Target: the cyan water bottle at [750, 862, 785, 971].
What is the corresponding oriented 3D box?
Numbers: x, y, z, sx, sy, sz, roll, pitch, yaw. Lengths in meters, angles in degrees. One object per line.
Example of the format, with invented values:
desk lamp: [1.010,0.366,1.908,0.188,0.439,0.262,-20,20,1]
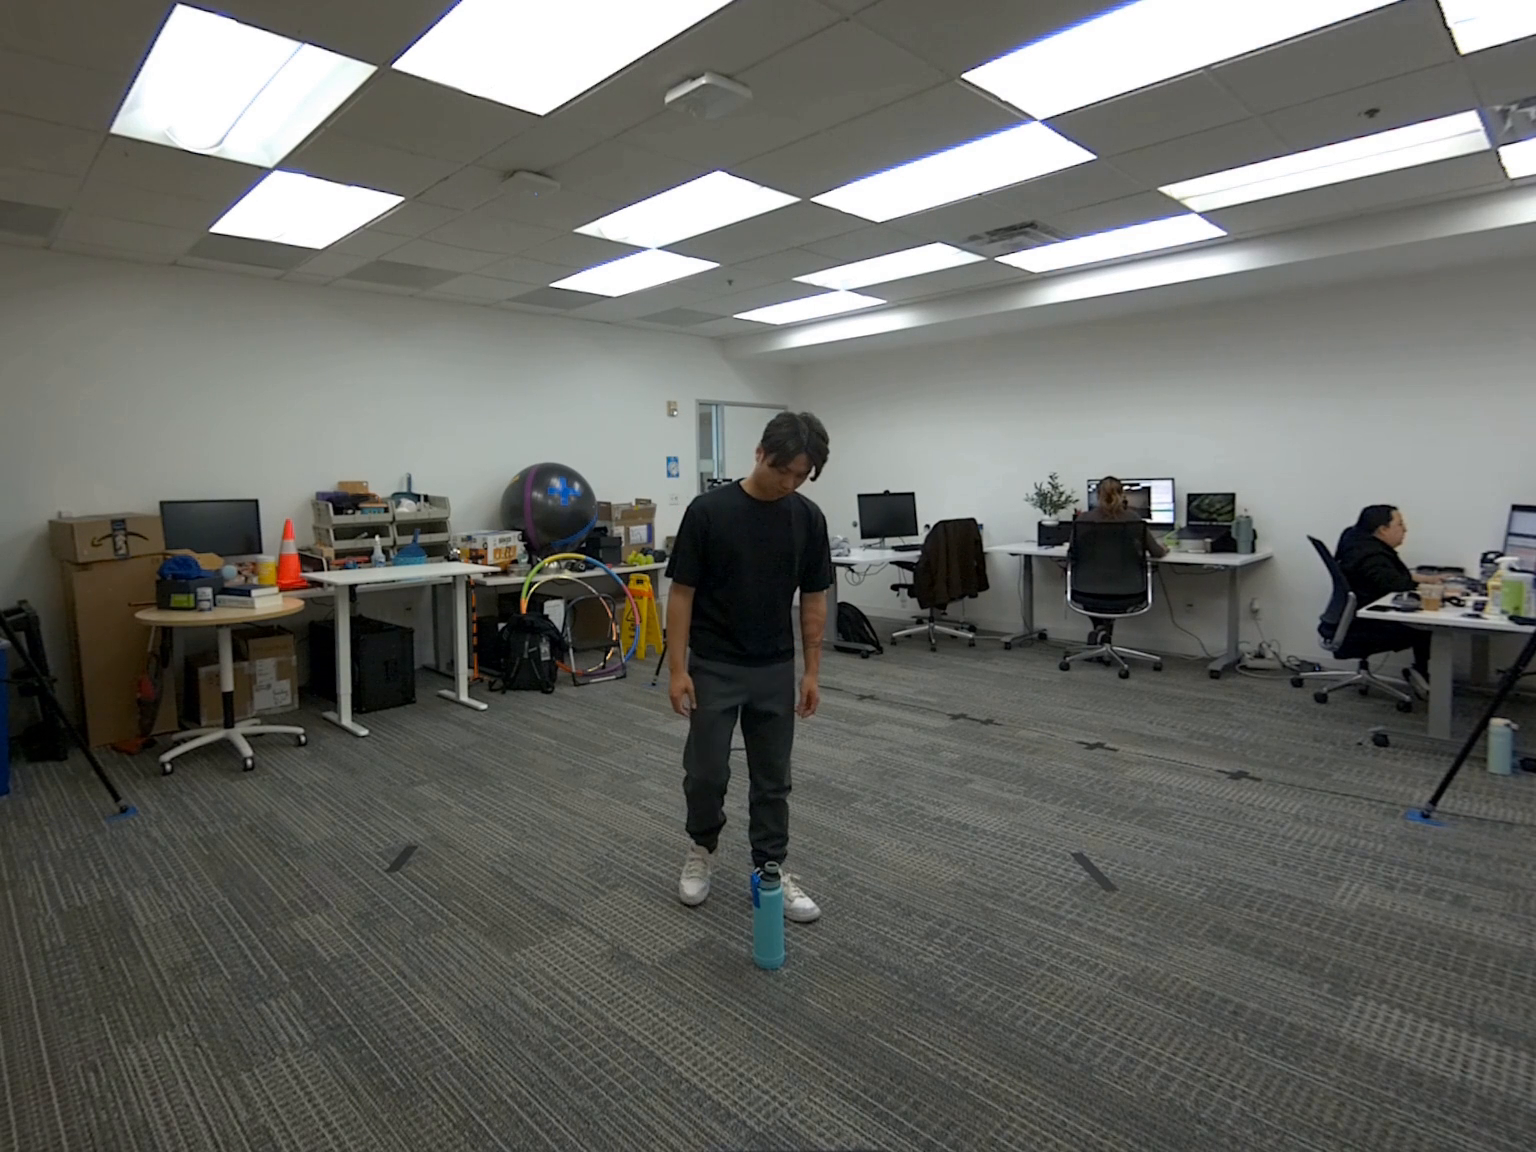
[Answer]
cyan water bottle: [0.002,0.982,2.468,0.092,0.282,0.093,-3,4,-1]
